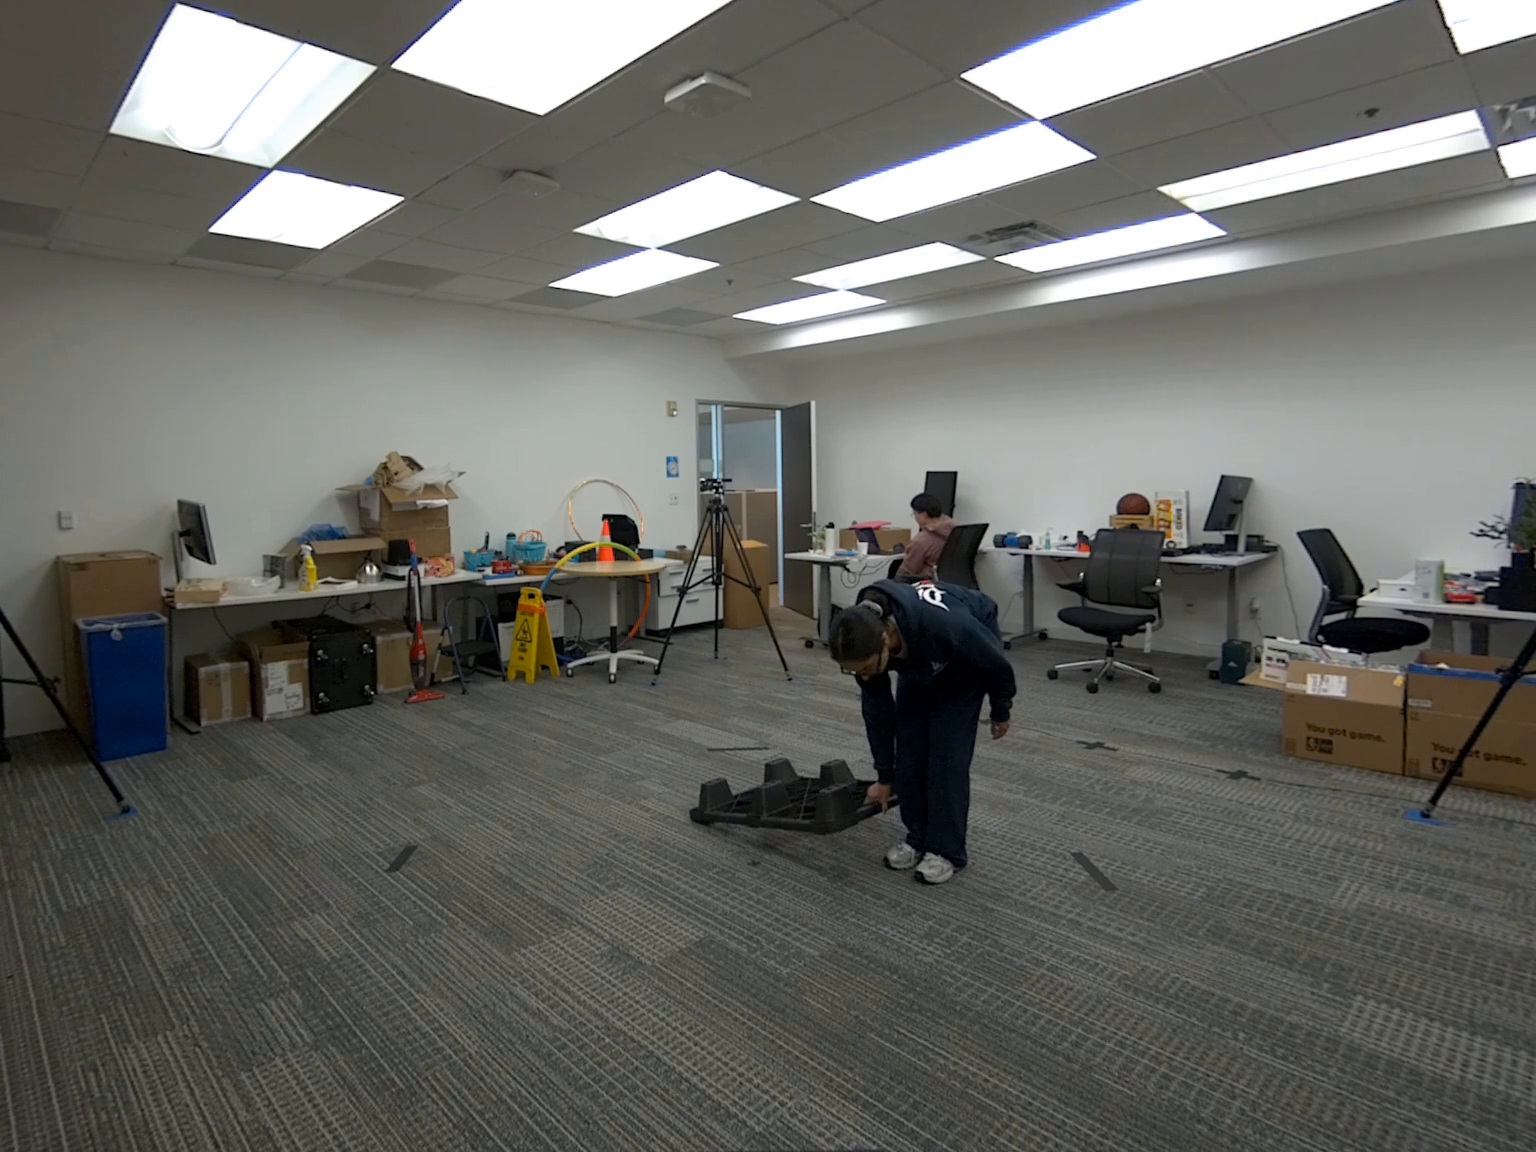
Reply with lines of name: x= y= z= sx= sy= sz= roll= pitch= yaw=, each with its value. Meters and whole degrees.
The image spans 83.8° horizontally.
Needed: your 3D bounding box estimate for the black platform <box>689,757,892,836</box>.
black platform: x=0.143 y=0.858 z=3.418 sx=0.589 sy=0.144 sz=0.823 roll=-6 pitch=-4 yaw=-43
